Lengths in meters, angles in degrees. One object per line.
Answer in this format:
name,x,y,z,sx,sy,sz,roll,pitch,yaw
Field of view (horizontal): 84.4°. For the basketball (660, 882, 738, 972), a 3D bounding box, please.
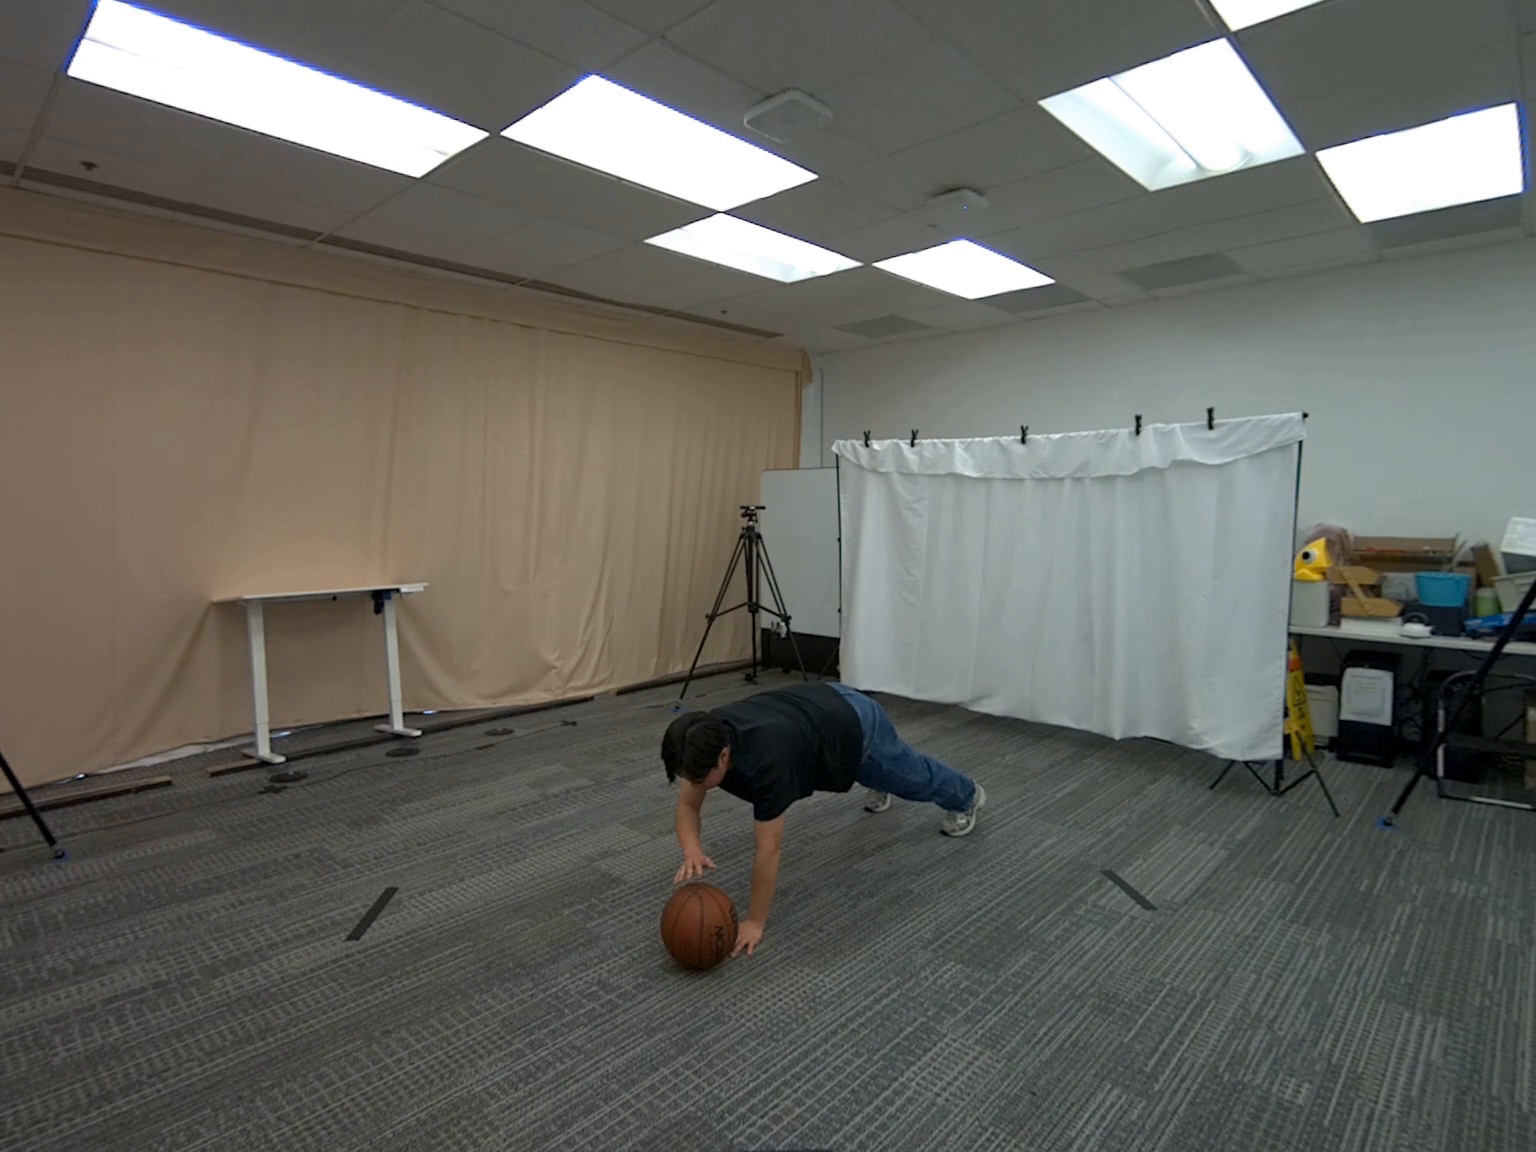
basketball,-0.211,1.056,2.561,0.236,0.235,0.237,0,4,-2
